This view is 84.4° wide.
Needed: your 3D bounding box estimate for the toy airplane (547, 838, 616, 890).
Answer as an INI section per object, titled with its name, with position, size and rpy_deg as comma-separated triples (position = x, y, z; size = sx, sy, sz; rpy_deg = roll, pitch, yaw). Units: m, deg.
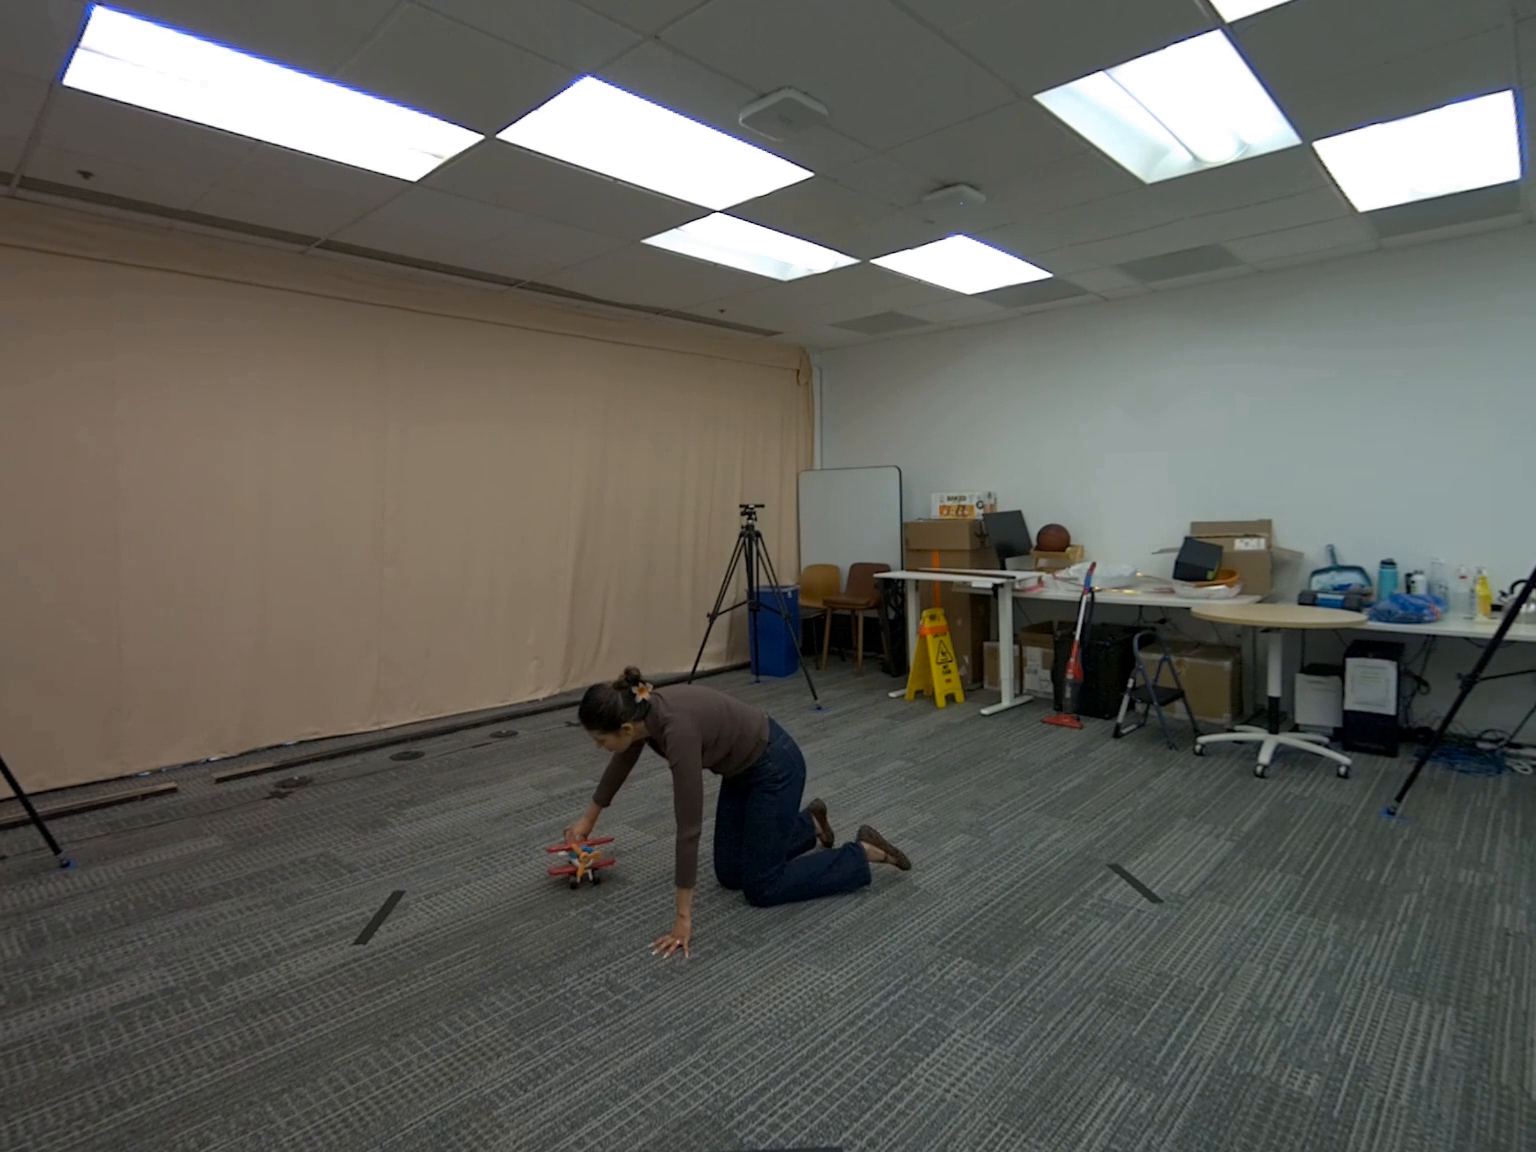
[toy airplane]
position = -0.723, 1.073, 3.182
size = 0.267, 0.156, 0.243
rpy_deg = -1, 3, 43
